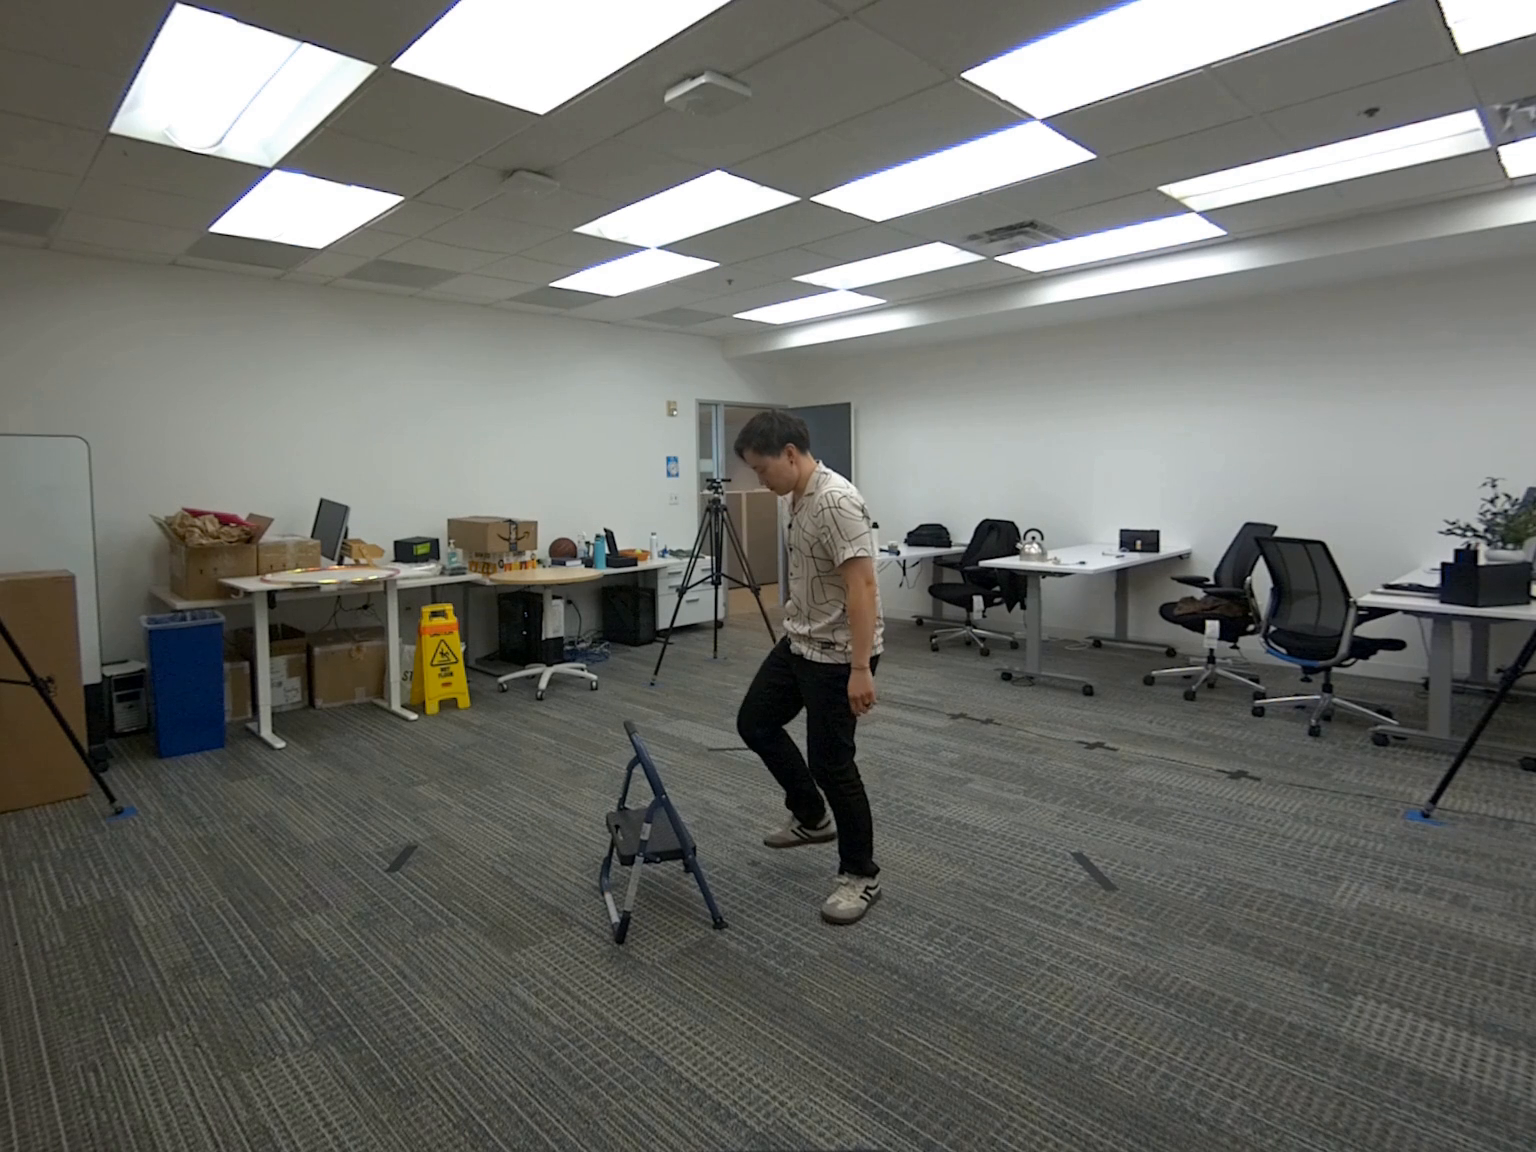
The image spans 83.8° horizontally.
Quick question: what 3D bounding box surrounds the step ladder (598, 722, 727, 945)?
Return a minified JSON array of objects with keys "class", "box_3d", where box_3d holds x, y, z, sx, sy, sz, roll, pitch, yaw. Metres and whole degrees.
[{"class":"step ladder","box_3d":[-0.361,0.783,2.796,0.344,0.604,0.439,-2,5,-18]}]
